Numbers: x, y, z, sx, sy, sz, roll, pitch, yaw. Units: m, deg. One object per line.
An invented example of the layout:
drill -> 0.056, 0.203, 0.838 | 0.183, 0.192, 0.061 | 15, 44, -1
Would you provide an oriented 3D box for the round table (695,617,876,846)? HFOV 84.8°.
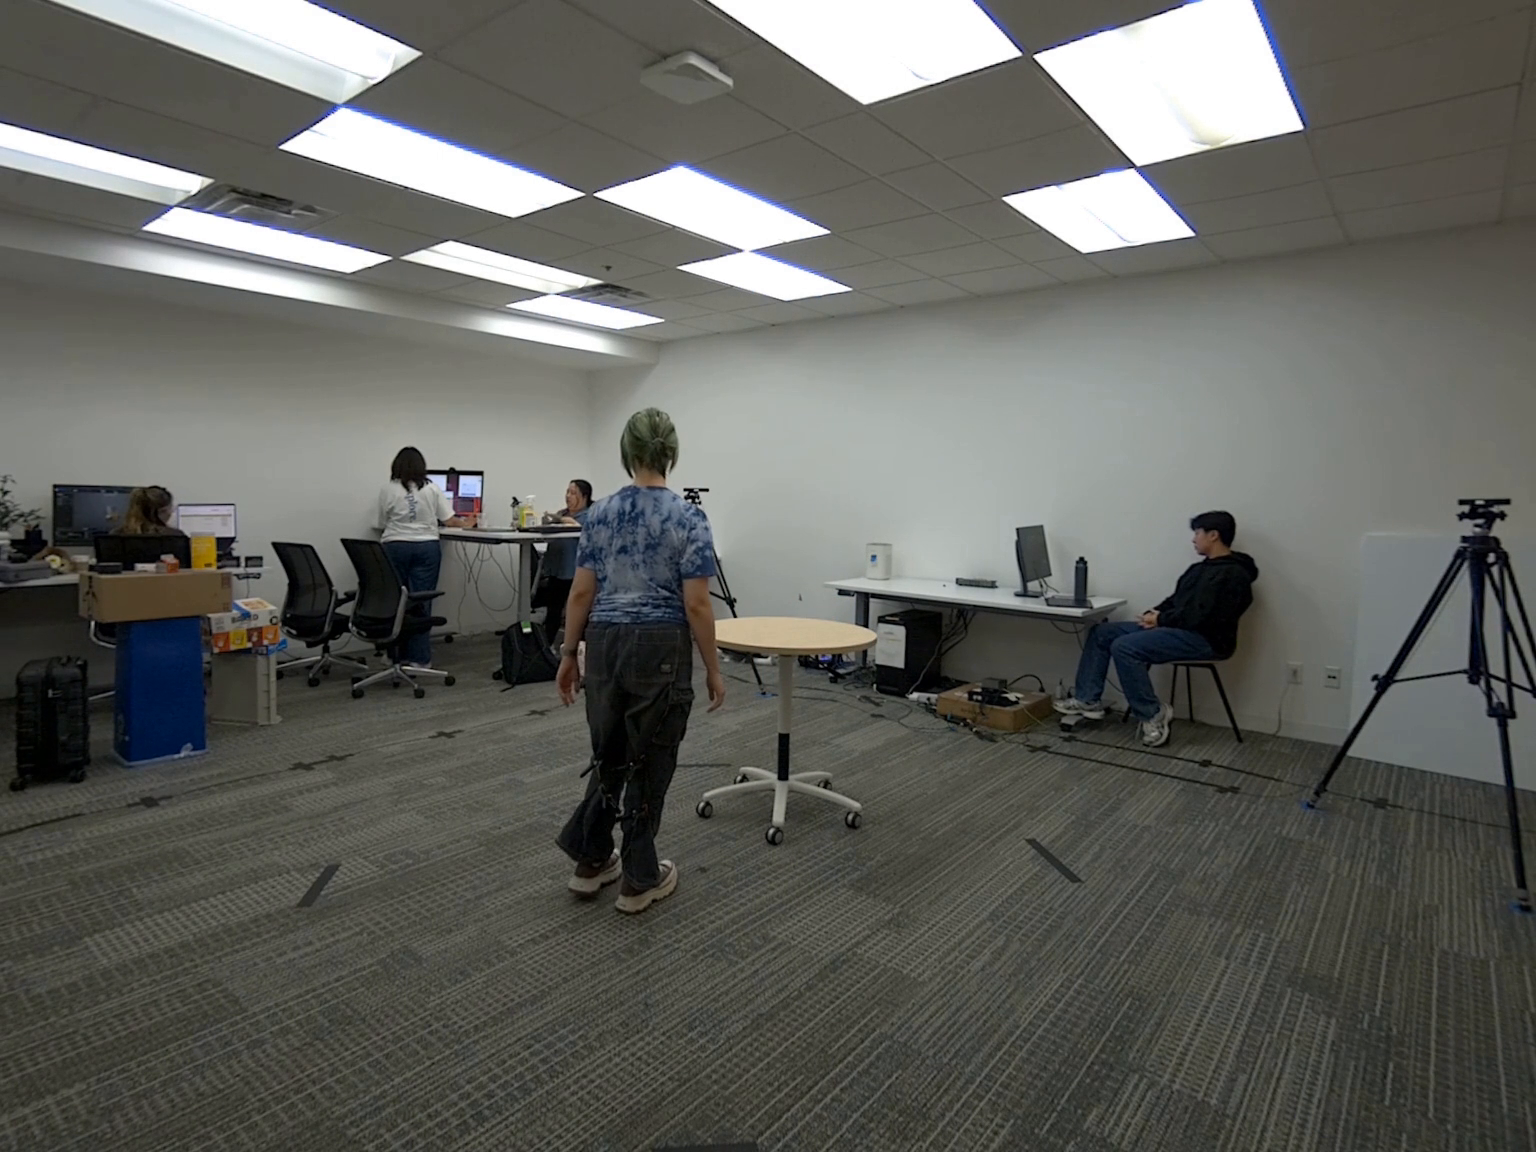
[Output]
round table -> 0.059, 0.631, 3.679 | 0.763, 0.792, 0.767 | 1, 4, -2
